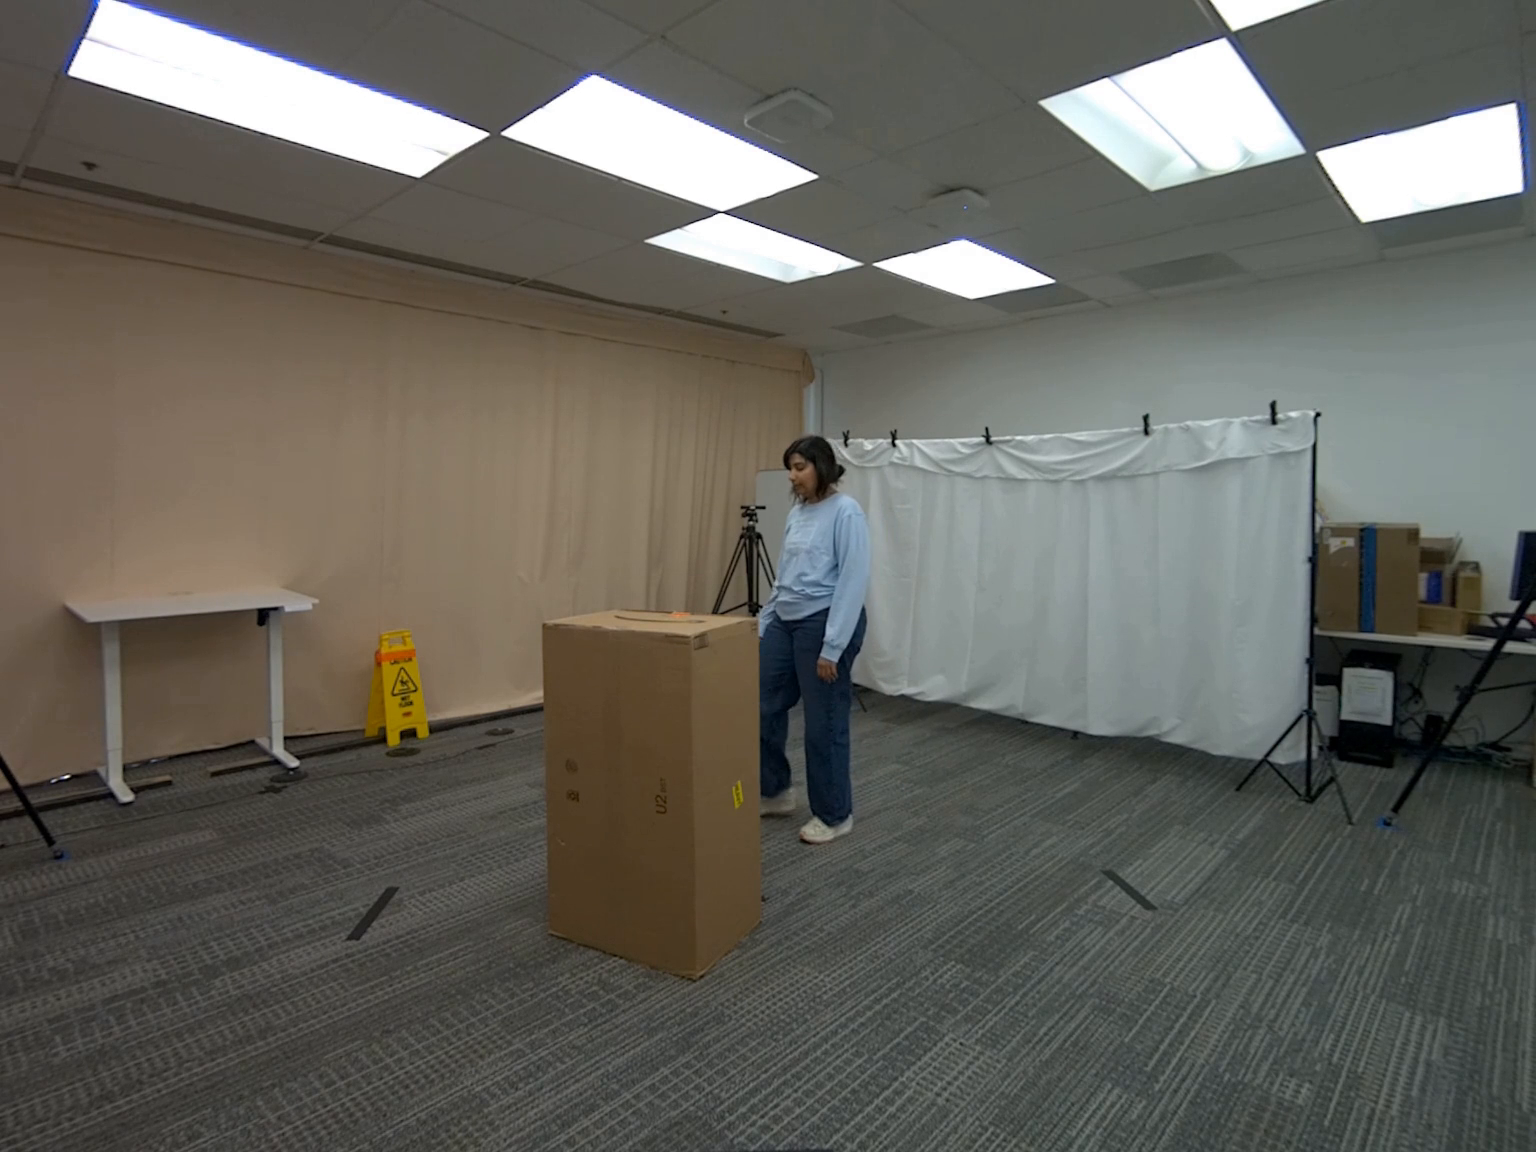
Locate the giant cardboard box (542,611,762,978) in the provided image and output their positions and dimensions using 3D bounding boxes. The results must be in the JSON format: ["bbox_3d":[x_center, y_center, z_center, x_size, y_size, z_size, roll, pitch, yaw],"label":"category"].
[{"bbox_3d":[-0.378,0.654,2.770,0.594,1.024,0.415,1,3,29],"label":"giant cardboard box"}]
